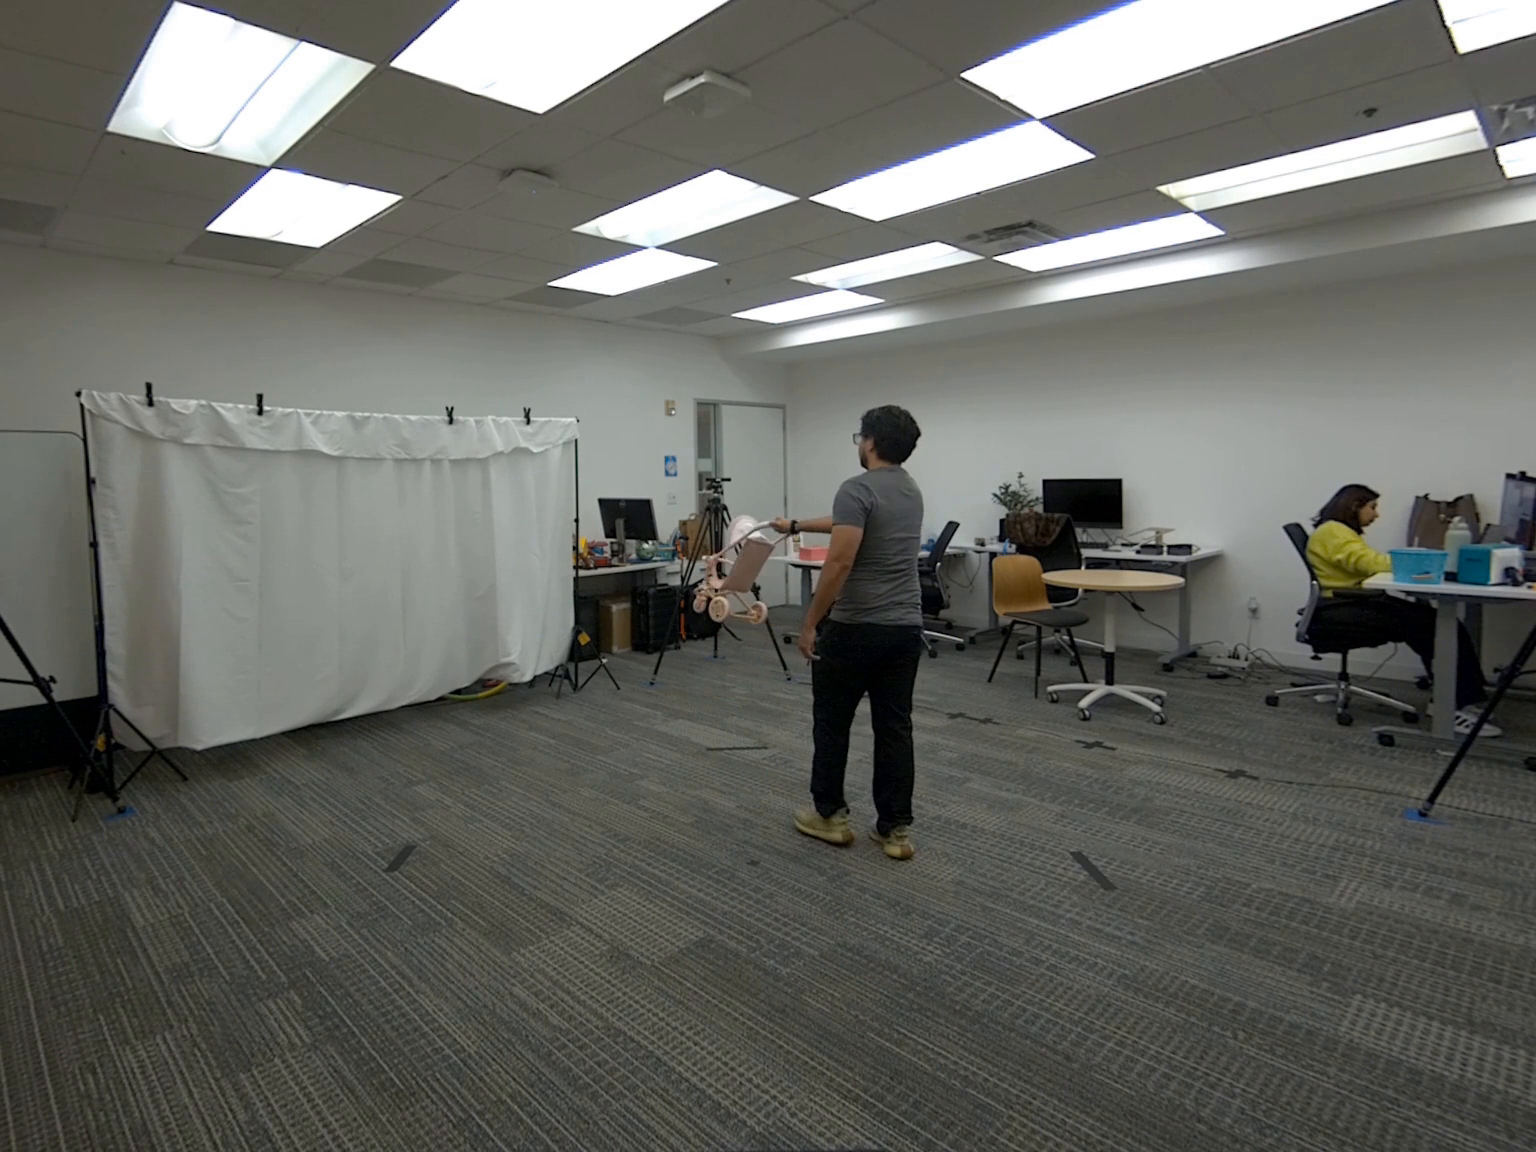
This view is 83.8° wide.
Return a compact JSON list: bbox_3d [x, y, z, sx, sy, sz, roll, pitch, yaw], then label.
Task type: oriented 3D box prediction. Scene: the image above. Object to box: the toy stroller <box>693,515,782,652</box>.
[{"bbox_3d":[-0.142,-0.025,3.776,0.272,0.532,0.354,10,13,-43],"label":"toy stroller"}]
